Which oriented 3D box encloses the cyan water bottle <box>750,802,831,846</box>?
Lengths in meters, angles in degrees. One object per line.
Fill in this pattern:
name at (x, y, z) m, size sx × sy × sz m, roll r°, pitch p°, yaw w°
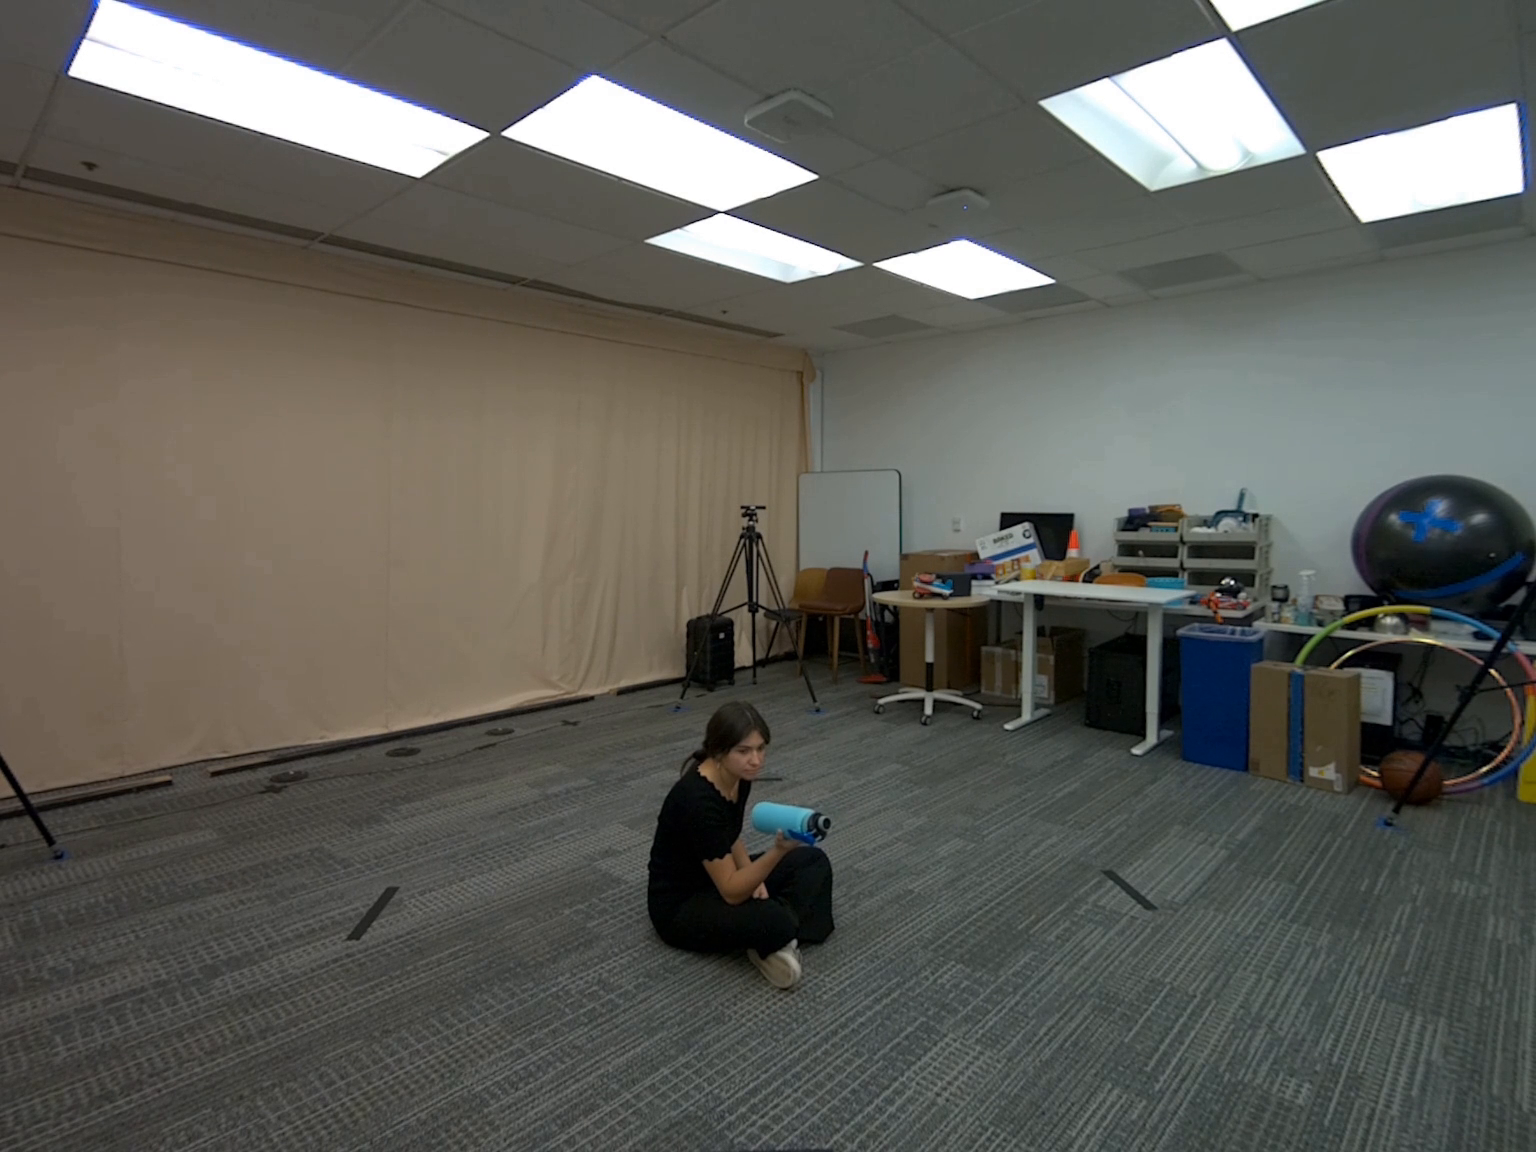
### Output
cyan water bottle at (0.068, 0.713, 2.425) m, size 0.089 × 0.092 × 0.291 m, roll -3°, pitch -5°, yaw -38°
